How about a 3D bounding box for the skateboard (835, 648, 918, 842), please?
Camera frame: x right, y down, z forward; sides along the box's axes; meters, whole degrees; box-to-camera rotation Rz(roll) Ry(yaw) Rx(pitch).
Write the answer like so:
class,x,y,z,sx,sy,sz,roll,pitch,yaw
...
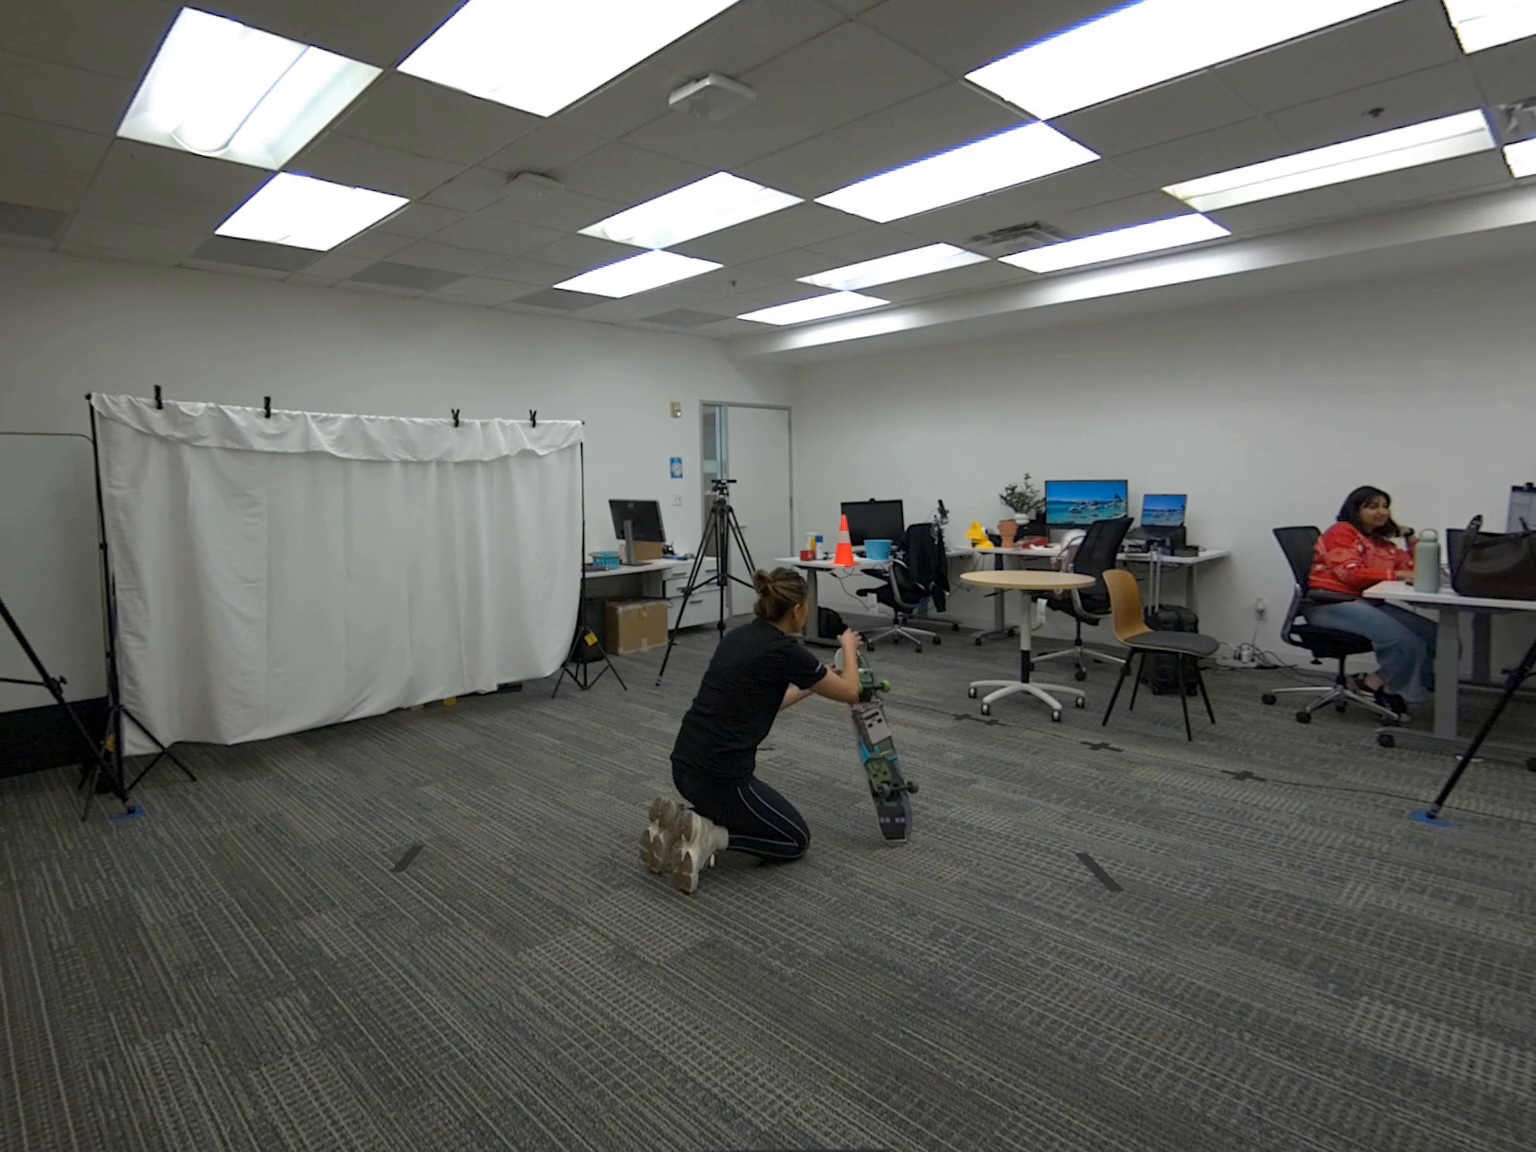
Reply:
class,x,y,z,sx,sy,sz,roll,pitch,yaw
skateboard,0.432,0.641,3.357,0.188,0.804,0.111,5,-28,-35
